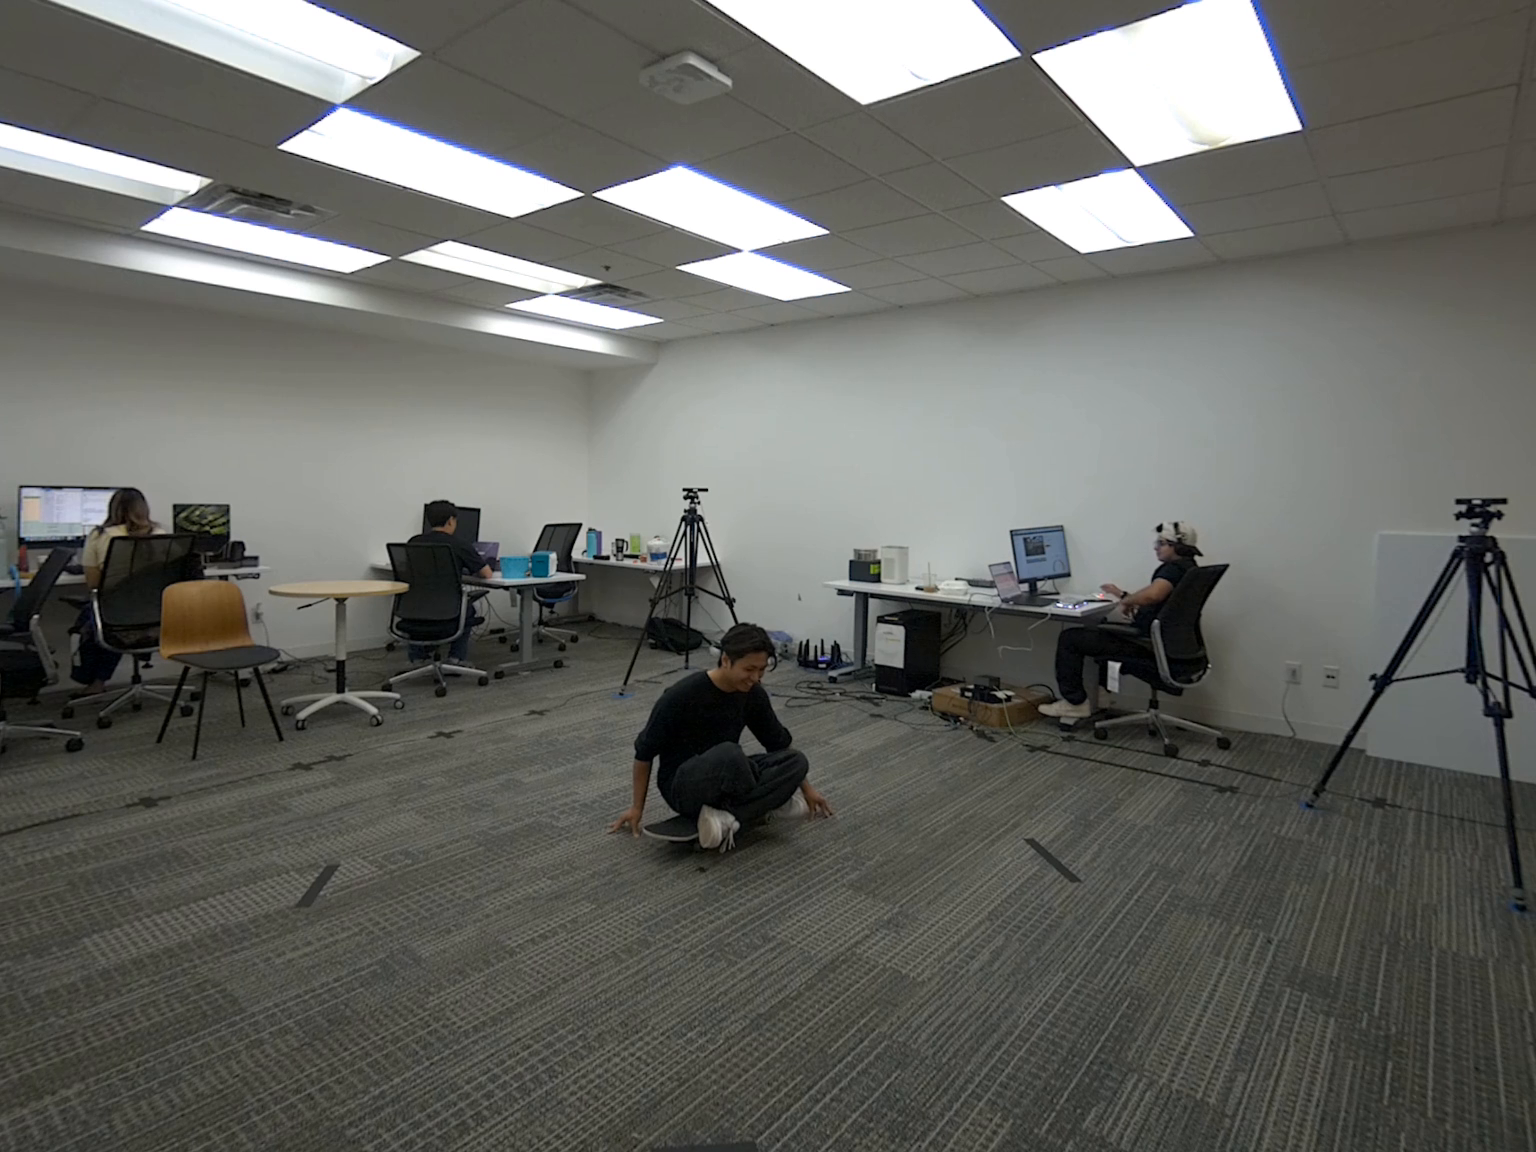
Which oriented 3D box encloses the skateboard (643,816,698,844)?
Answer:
[{"bbox_3d":[-0.194,0.989,3.450,0.200,0.110,0.762,4,7,39],"label":"skateboard"}]
